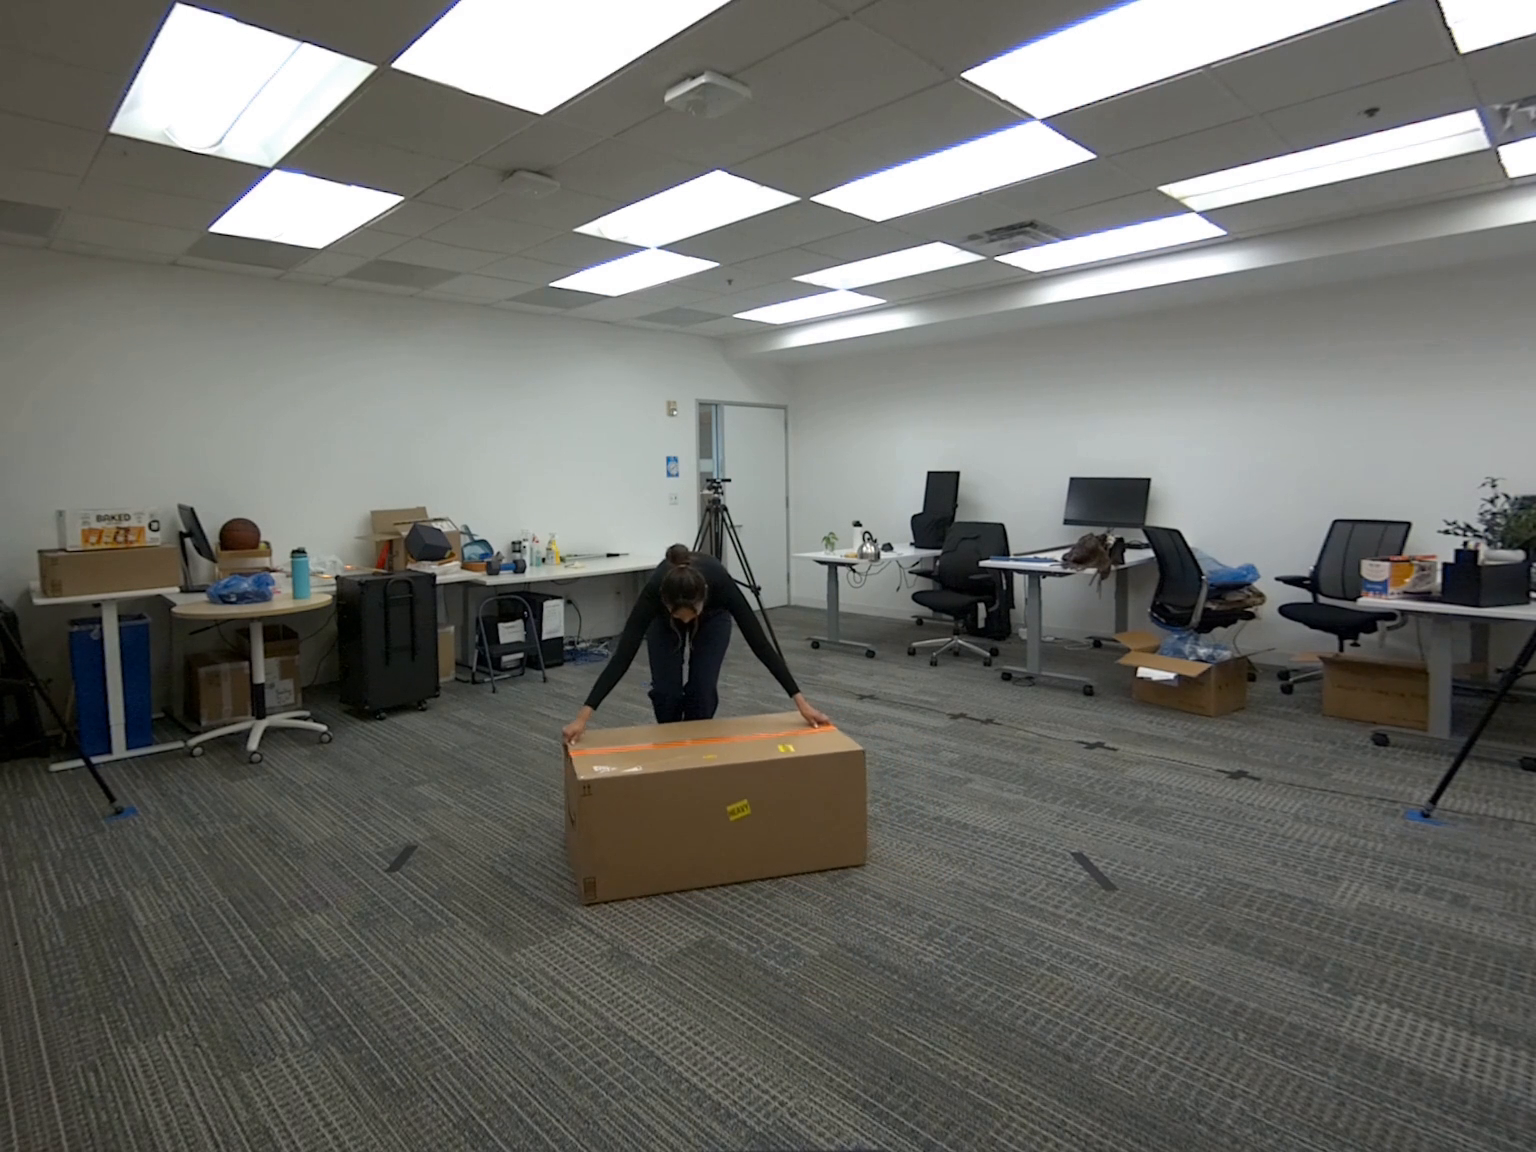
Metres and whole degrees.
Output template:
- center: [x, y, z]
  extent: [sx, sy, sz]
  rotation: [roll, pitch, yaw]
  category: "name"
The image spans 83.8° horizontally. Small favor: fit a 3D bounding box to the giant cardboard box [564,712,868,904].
- center: [-0.222, 0.818, 3.199]
  extent: [1.011, 0.424, 0.588]
  rotation: [-3, 5, -16]
  category: "giant cardboard box"
